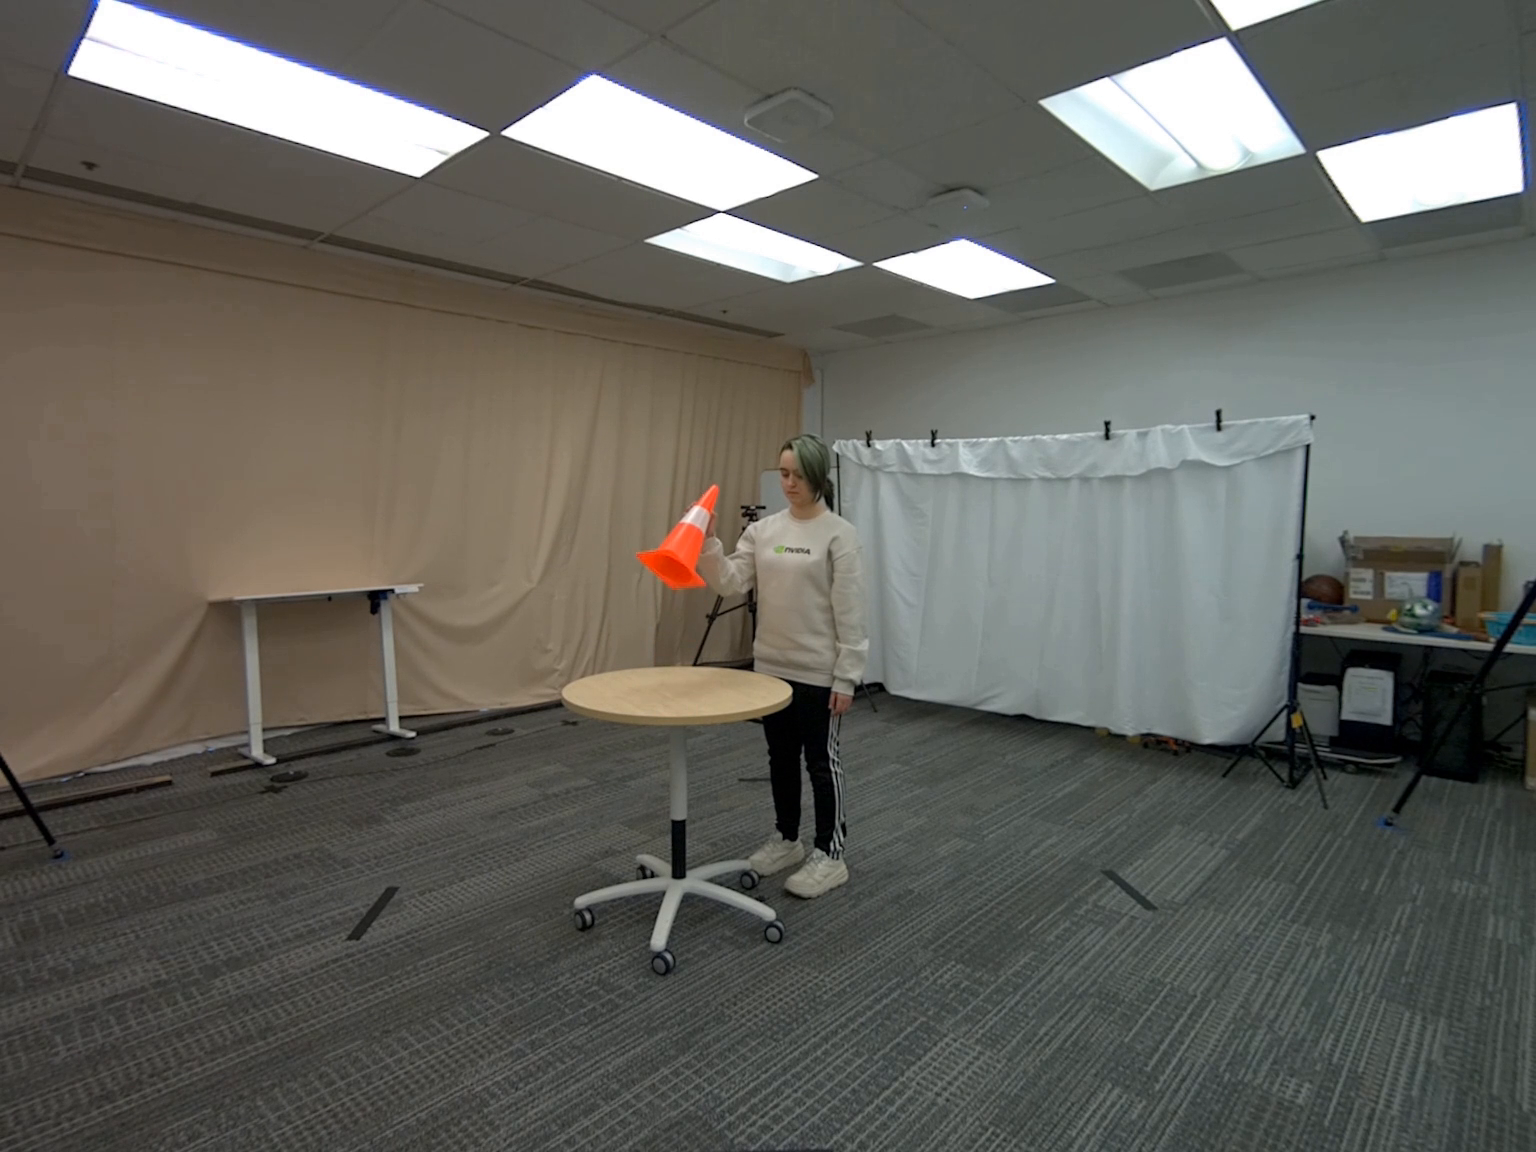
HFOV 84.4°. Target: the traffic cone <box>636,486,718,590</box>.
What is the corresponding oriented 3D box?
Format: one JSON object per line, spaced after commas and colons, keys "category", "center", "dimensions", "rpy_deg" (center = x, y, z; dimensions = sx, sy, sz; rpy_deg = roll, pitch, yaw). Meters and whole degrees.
{"category": "traffic cone", "center": [-0.256, -0.169, 2.969], "dimensions": [0.211, 0.384, 0.197], "rpy_deg": [-8, -44, 45]}
